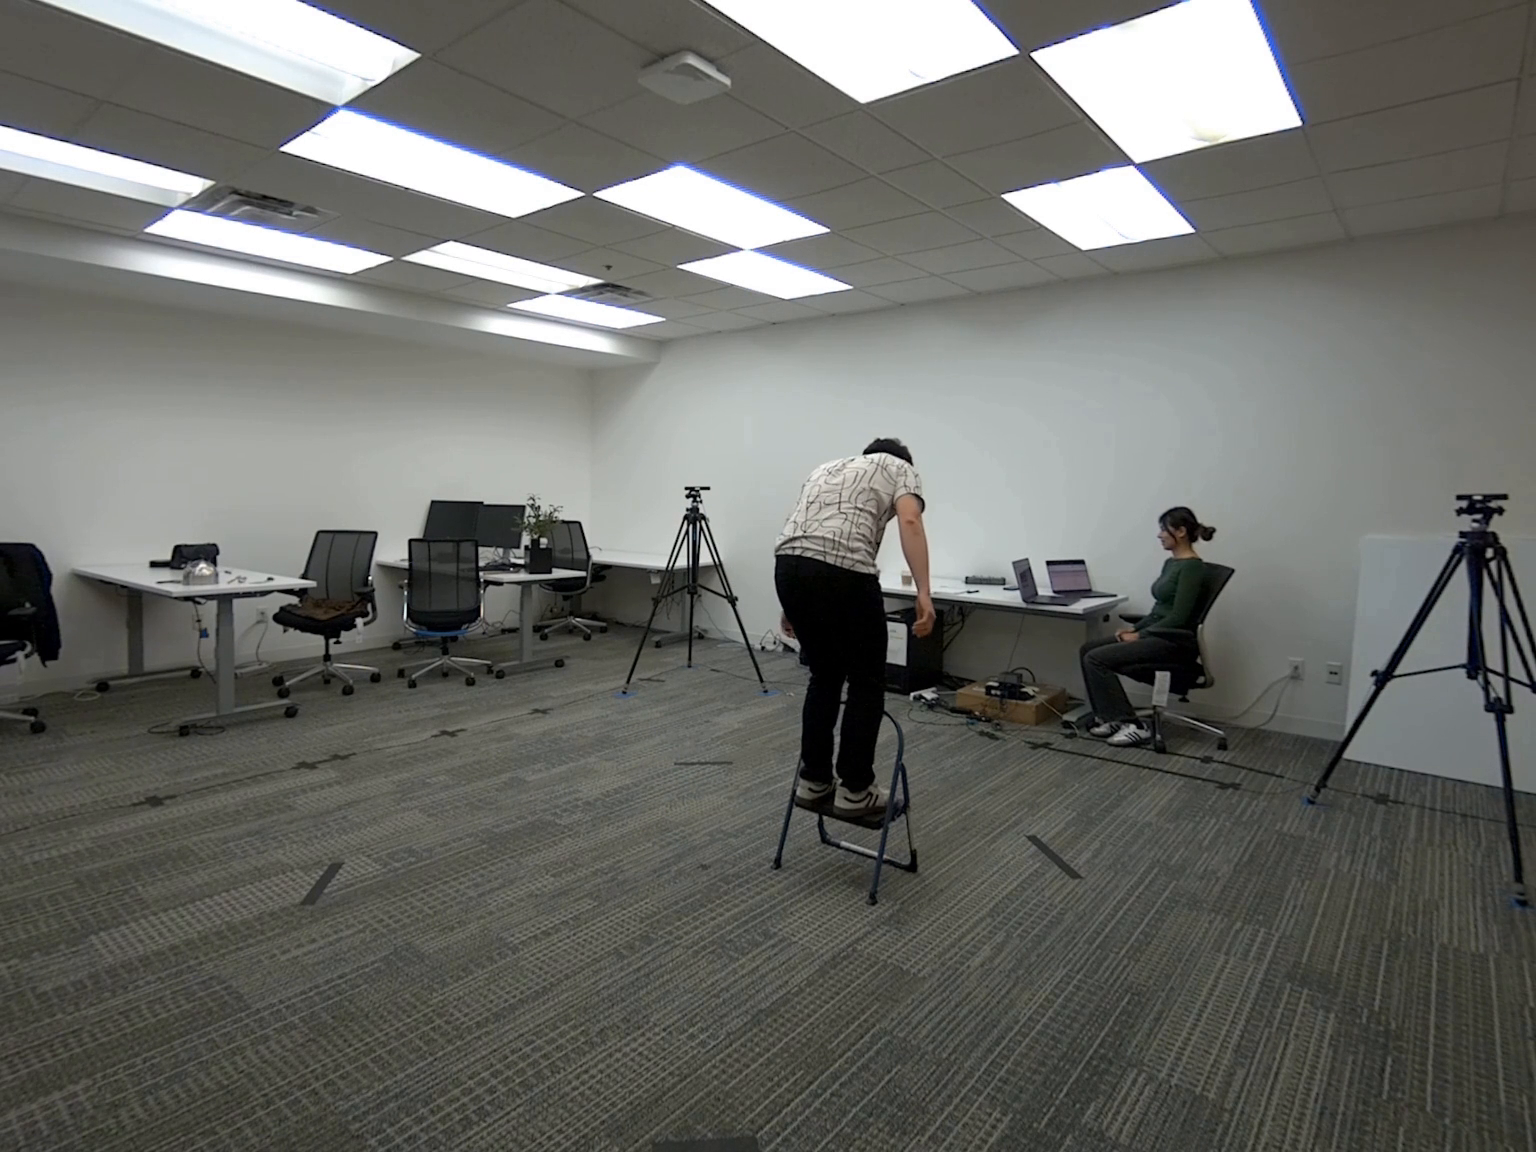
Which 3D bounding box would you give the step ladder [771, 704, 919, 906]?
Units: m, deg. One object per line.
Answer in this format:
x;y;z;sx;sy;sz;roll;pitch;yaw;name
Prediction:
0.285;0.770;3.105;0.445;0.605;0.339;4;4;37;step ladder
